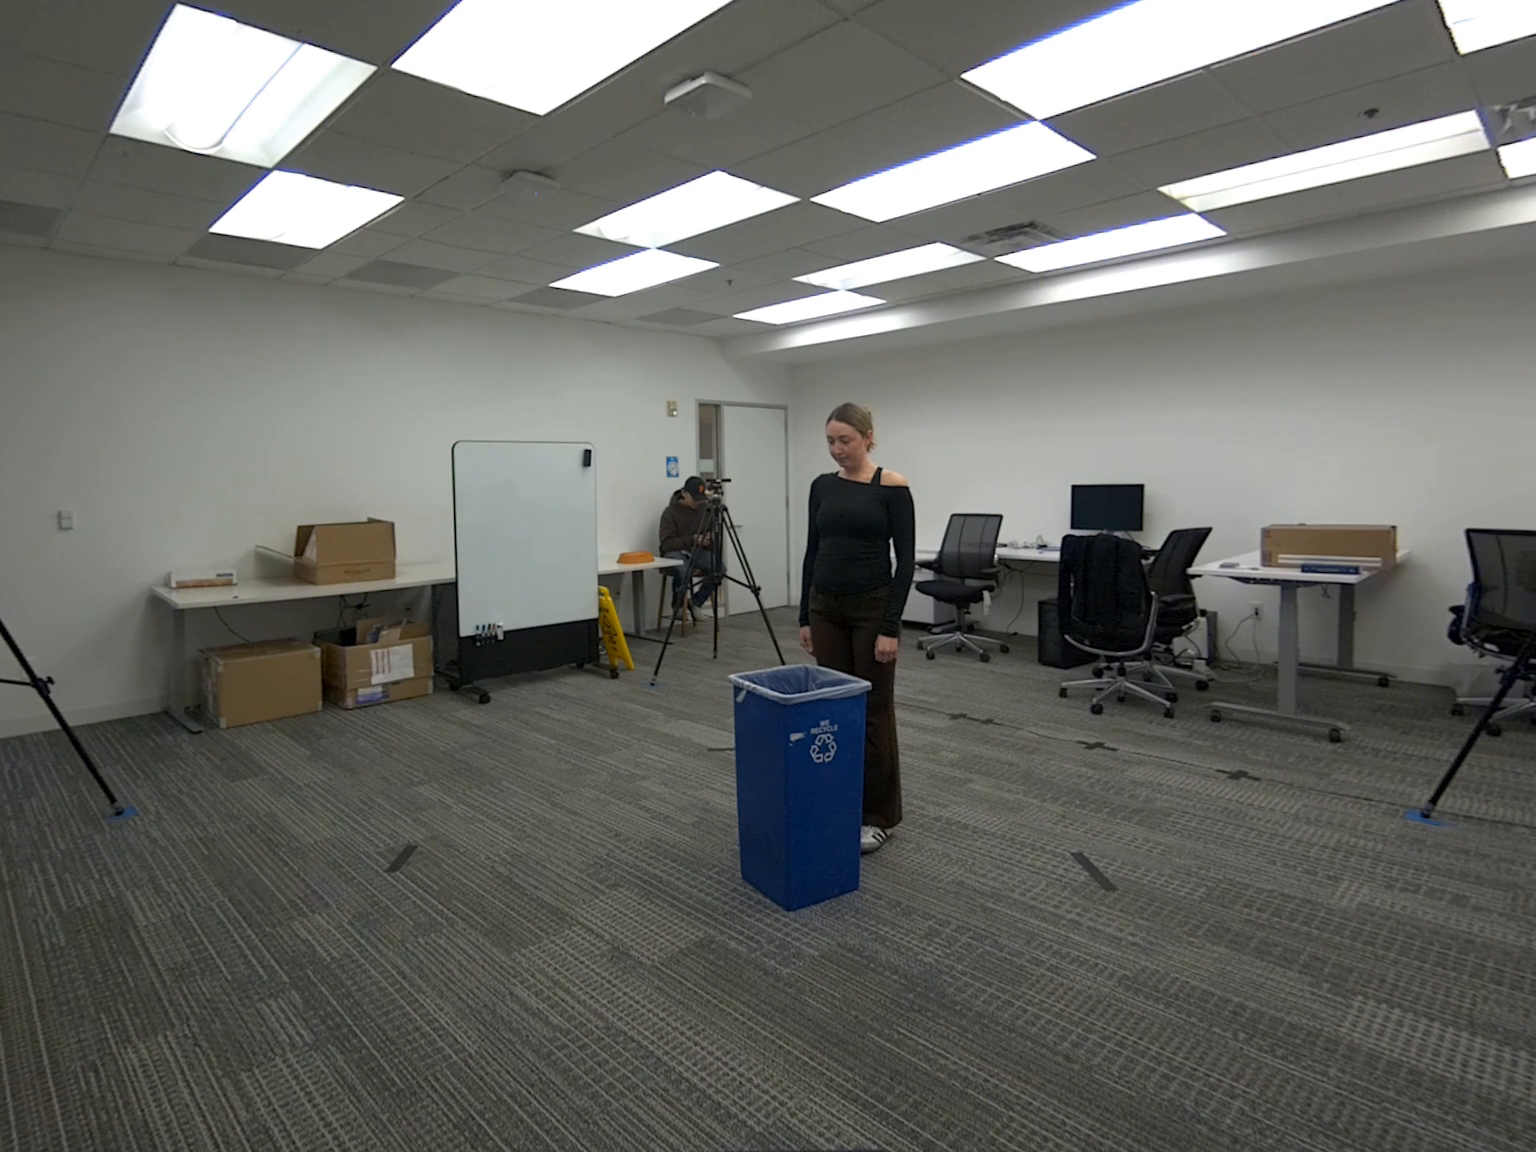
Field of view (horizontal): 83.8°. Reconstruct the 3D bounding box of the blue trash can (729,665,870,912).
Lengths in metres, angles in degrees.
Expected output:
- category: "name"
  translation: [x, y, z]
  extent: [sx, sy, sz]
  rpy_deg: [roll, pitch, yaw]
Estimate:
- category: "blue trash can"
  translation: [0.108, 0.704, 2.934]
  extent: [0.365, 0.711, 0.389]
  rpy_deg: [-3, 5, -33]
